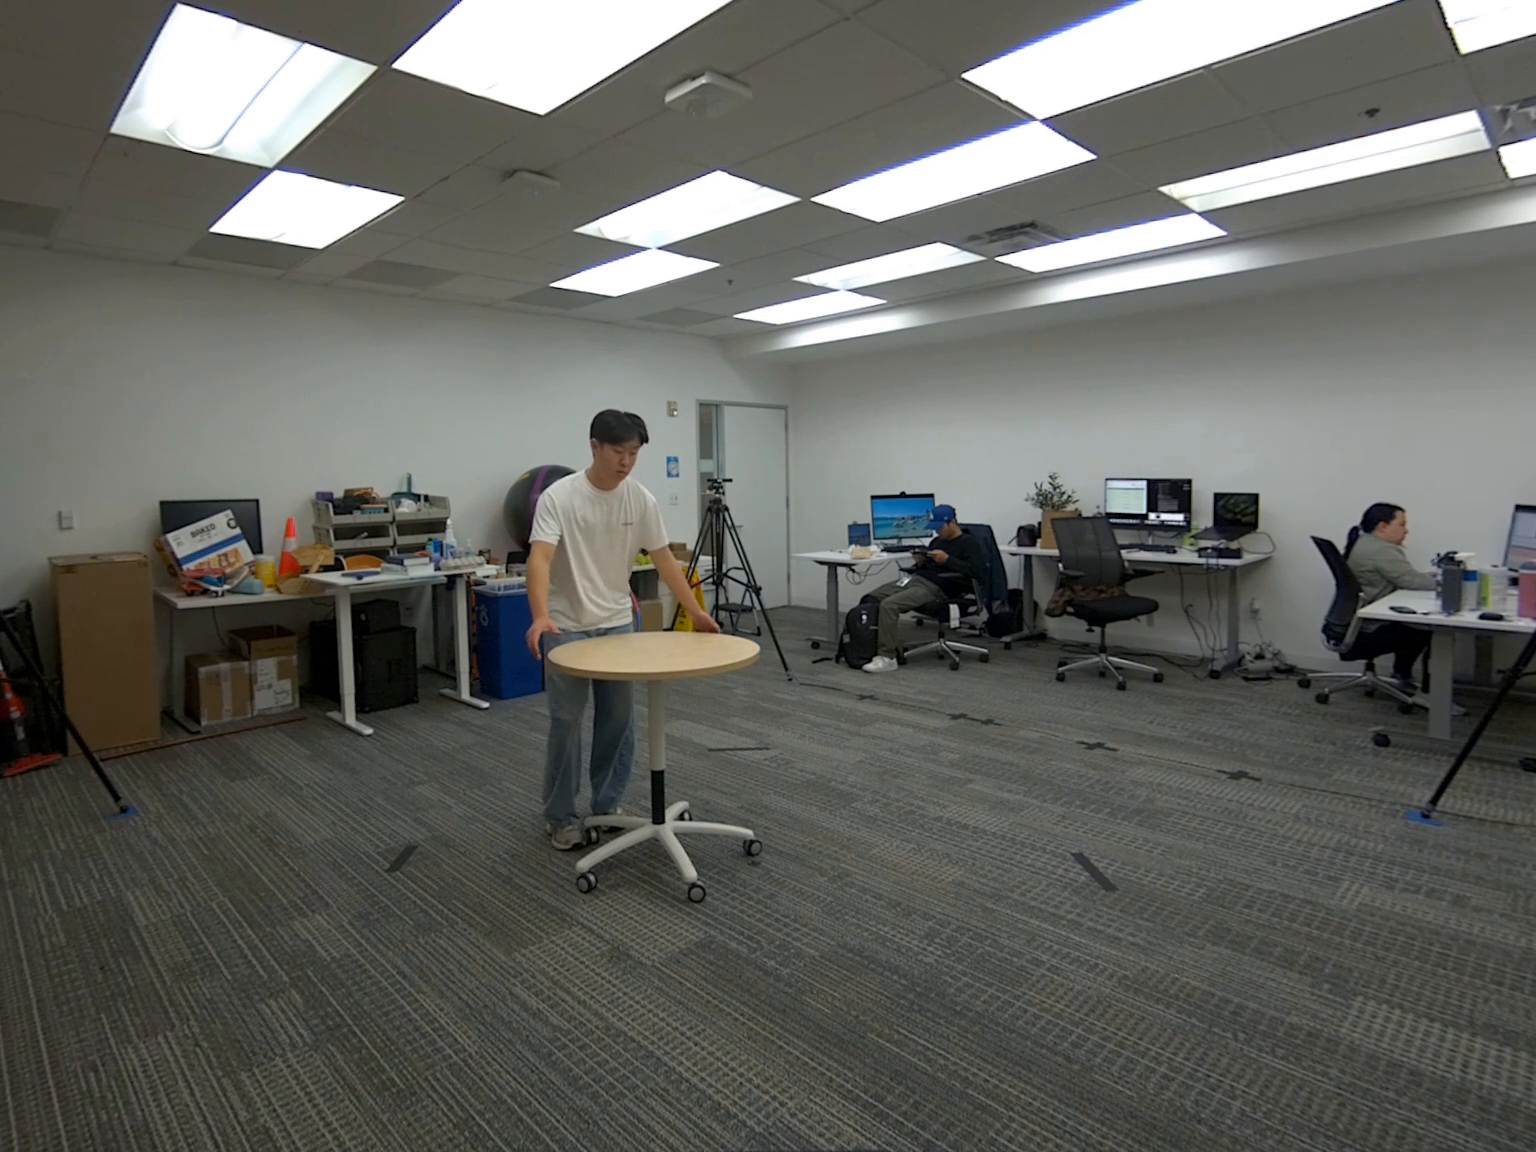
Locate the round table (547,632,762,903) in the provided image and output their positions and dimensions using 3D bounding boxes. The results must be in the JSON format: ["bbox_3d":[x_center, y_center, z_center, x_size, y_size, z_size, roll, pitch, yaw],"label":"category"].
[{"bbox_3d":[-0.398,0.662,3.126,0.763,0.791,0.768,-1,5,-2],"label":"round table"}]
